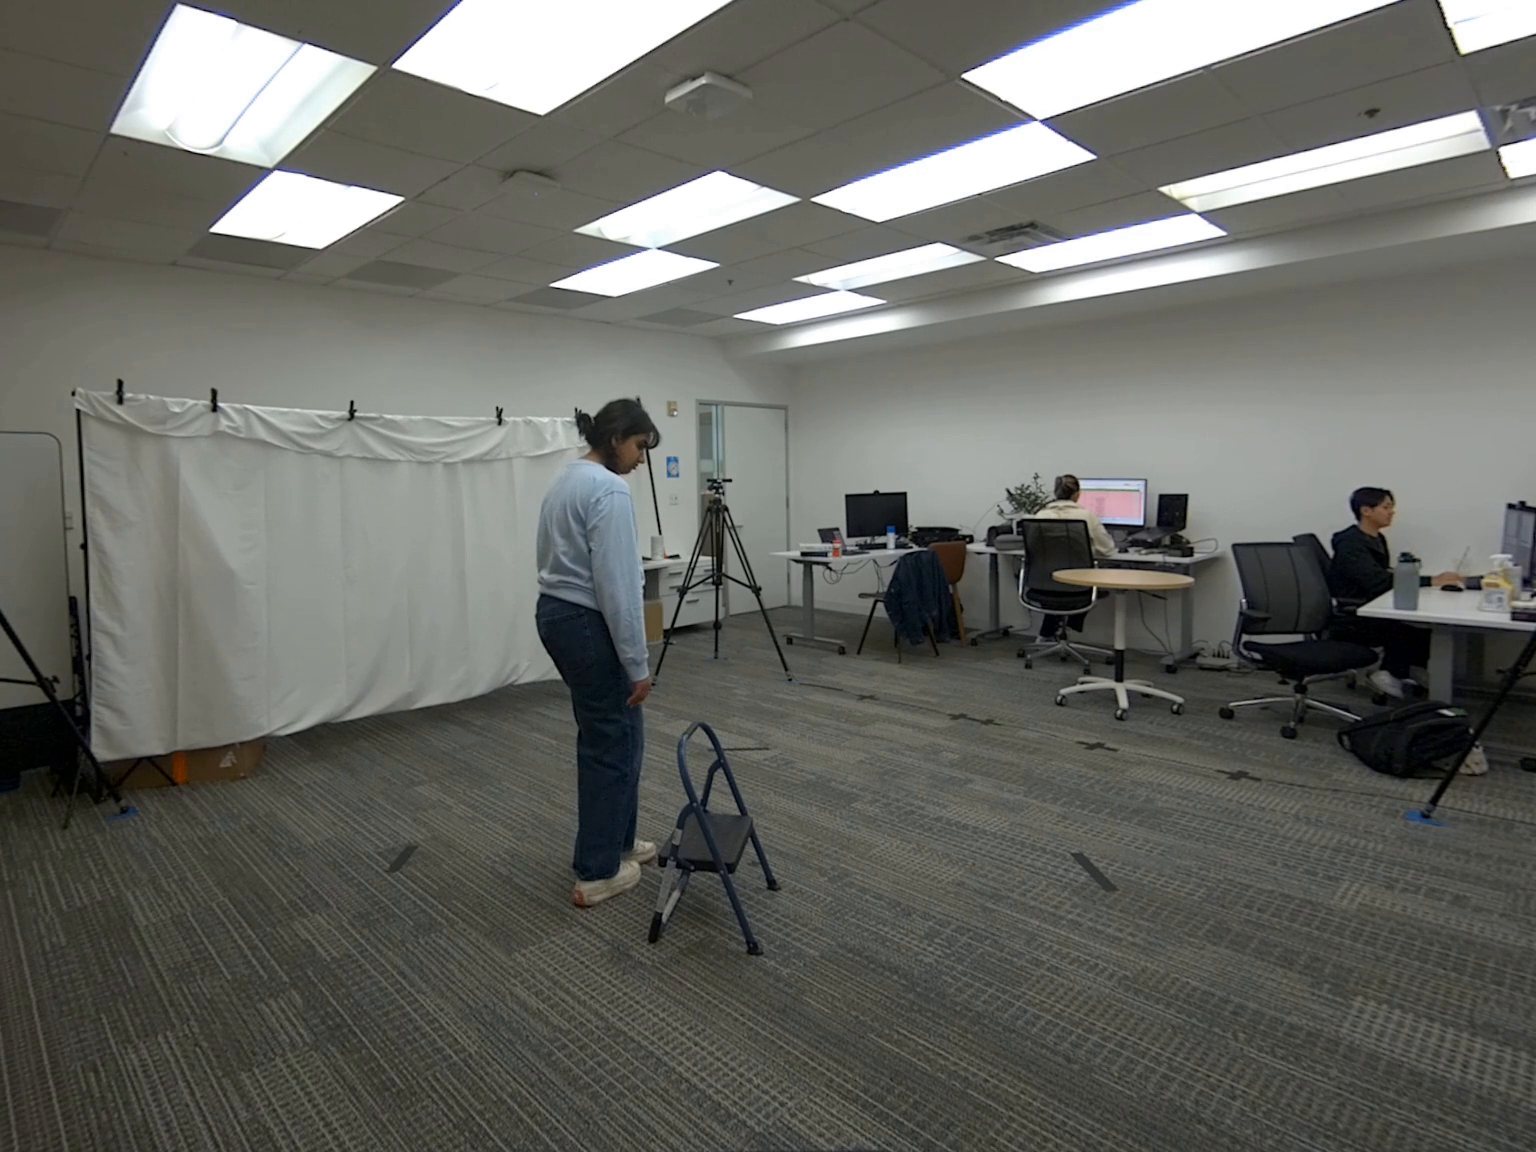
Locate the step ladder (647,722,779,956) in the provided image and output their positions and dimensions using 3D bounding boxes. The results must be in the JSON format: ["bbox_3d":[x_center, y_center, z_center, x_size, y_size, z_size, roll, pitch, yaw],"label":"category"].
[{"bbox_3d":[-0.167,0.788,2.726,0.353,0.604,0.428,0,5,10],"label":"step ladder"}]
